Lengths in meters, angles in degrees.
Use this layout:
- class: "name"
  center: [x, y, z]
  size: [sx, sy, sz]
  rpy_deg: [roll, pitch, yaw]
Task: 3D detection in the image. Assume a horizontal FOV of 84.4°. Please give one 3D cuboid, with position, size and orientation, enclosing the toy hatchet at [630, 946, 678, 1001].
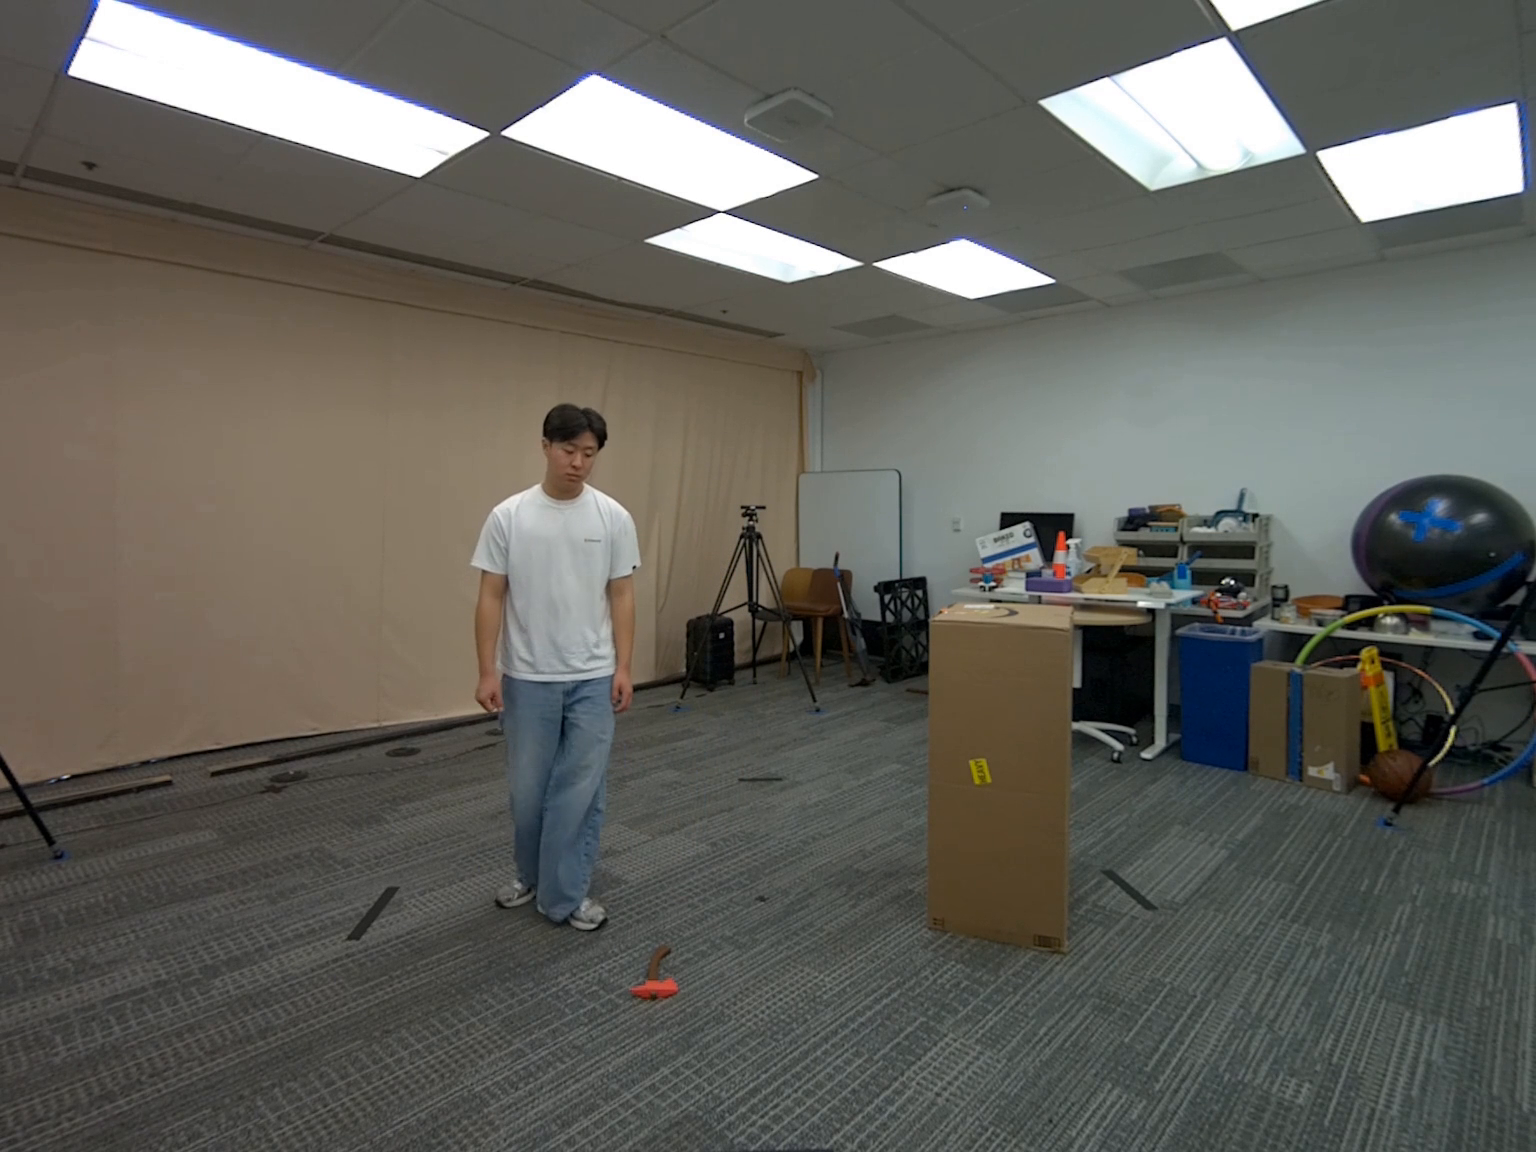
- class: "toy hatchet"
  center: [-0.302, 1.180, 2.491]
  size: [0.133, 0.029, 0.266]
  rpy_deg: [2, 3, 12]
